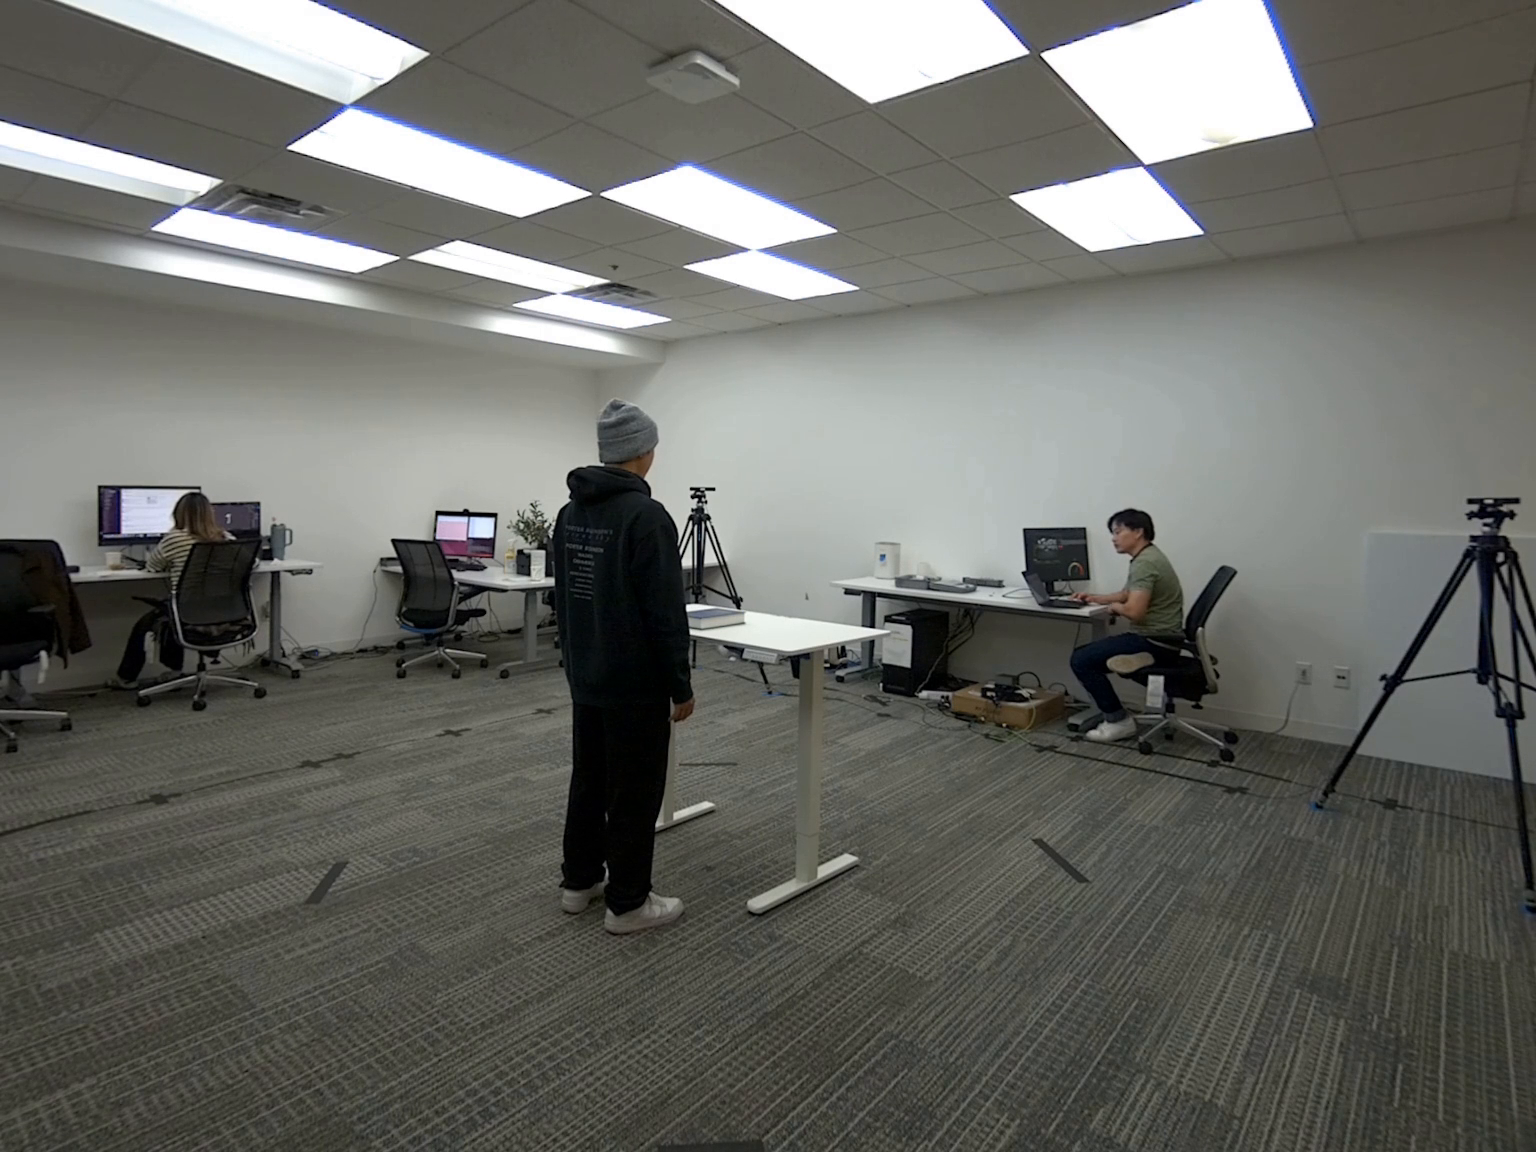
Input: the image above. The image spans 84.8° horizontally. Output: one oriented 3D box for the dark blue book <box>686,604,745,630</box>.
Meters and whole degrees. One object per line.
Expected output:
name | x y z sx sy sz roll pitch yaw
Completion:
dark blue book | -0.226 0.158 3.176 0.169 0.045 0.238 5 7 41
